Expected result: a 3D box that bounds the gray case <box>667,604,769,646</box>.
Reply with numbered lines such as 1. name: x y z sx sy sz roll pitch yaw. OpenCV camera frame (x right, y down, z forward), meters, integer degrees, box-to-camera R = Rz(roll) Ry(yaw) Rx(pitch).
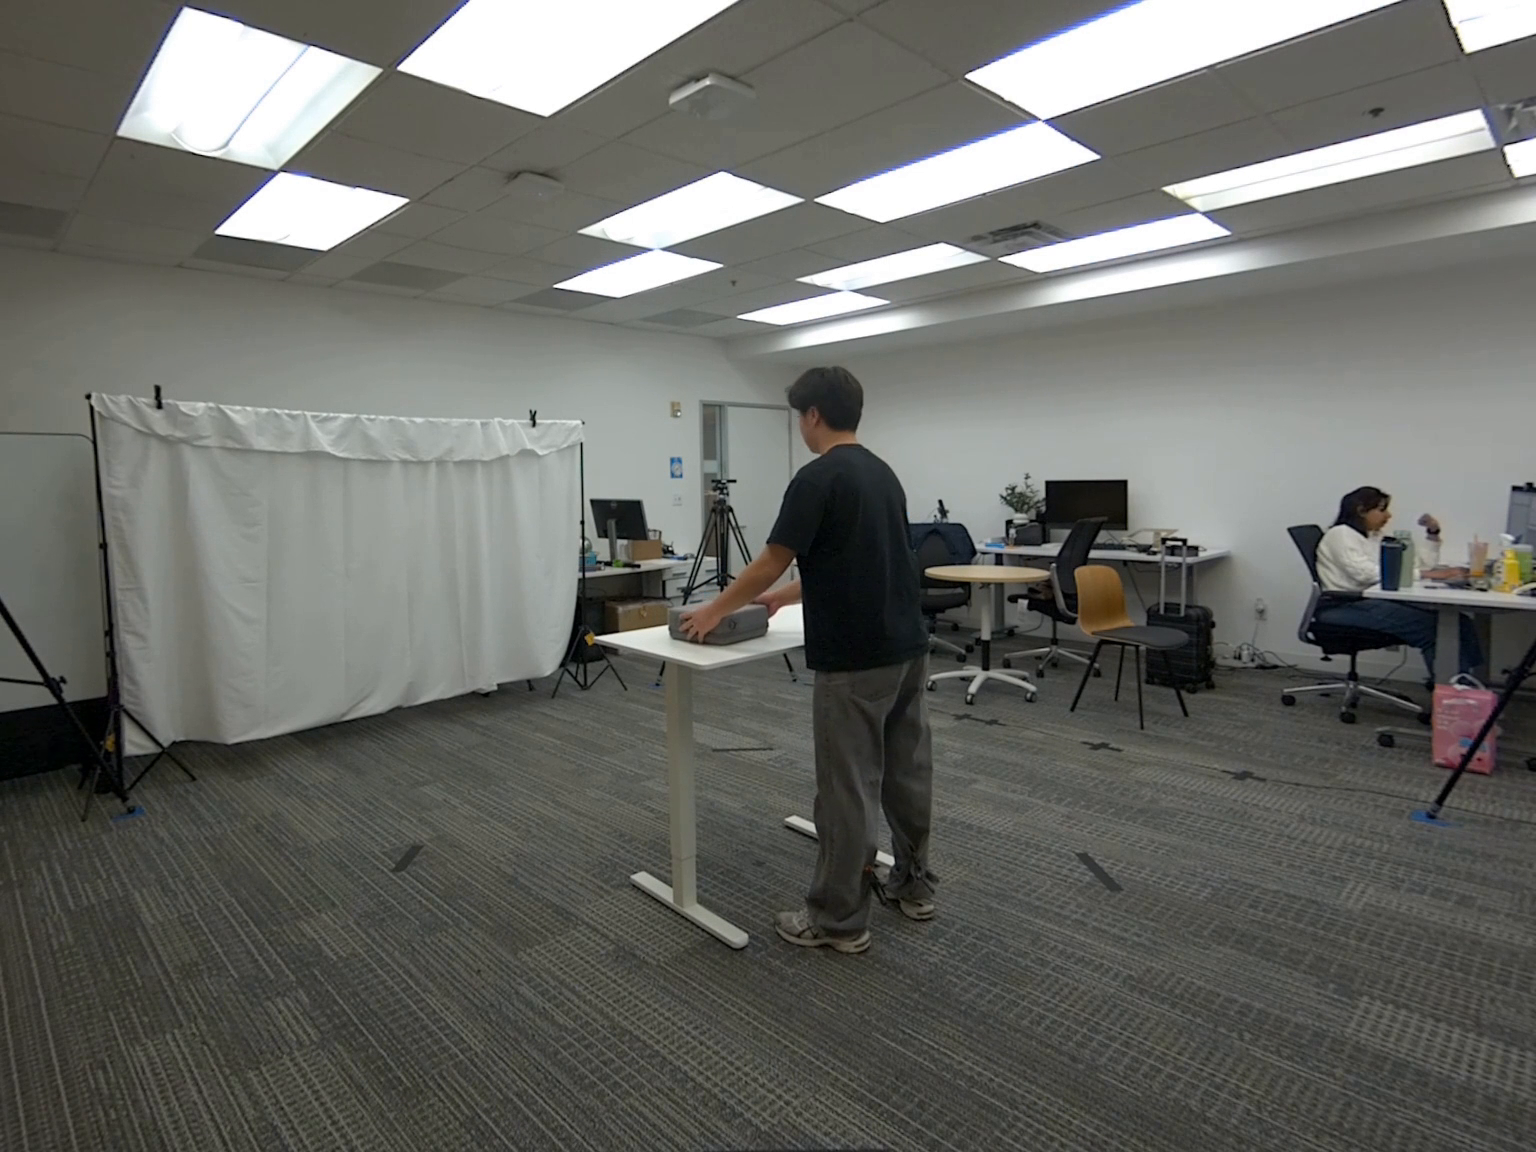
1. gray case: -0.172 0.151 2.812 0.271 0.102 0.280 5 9 43
